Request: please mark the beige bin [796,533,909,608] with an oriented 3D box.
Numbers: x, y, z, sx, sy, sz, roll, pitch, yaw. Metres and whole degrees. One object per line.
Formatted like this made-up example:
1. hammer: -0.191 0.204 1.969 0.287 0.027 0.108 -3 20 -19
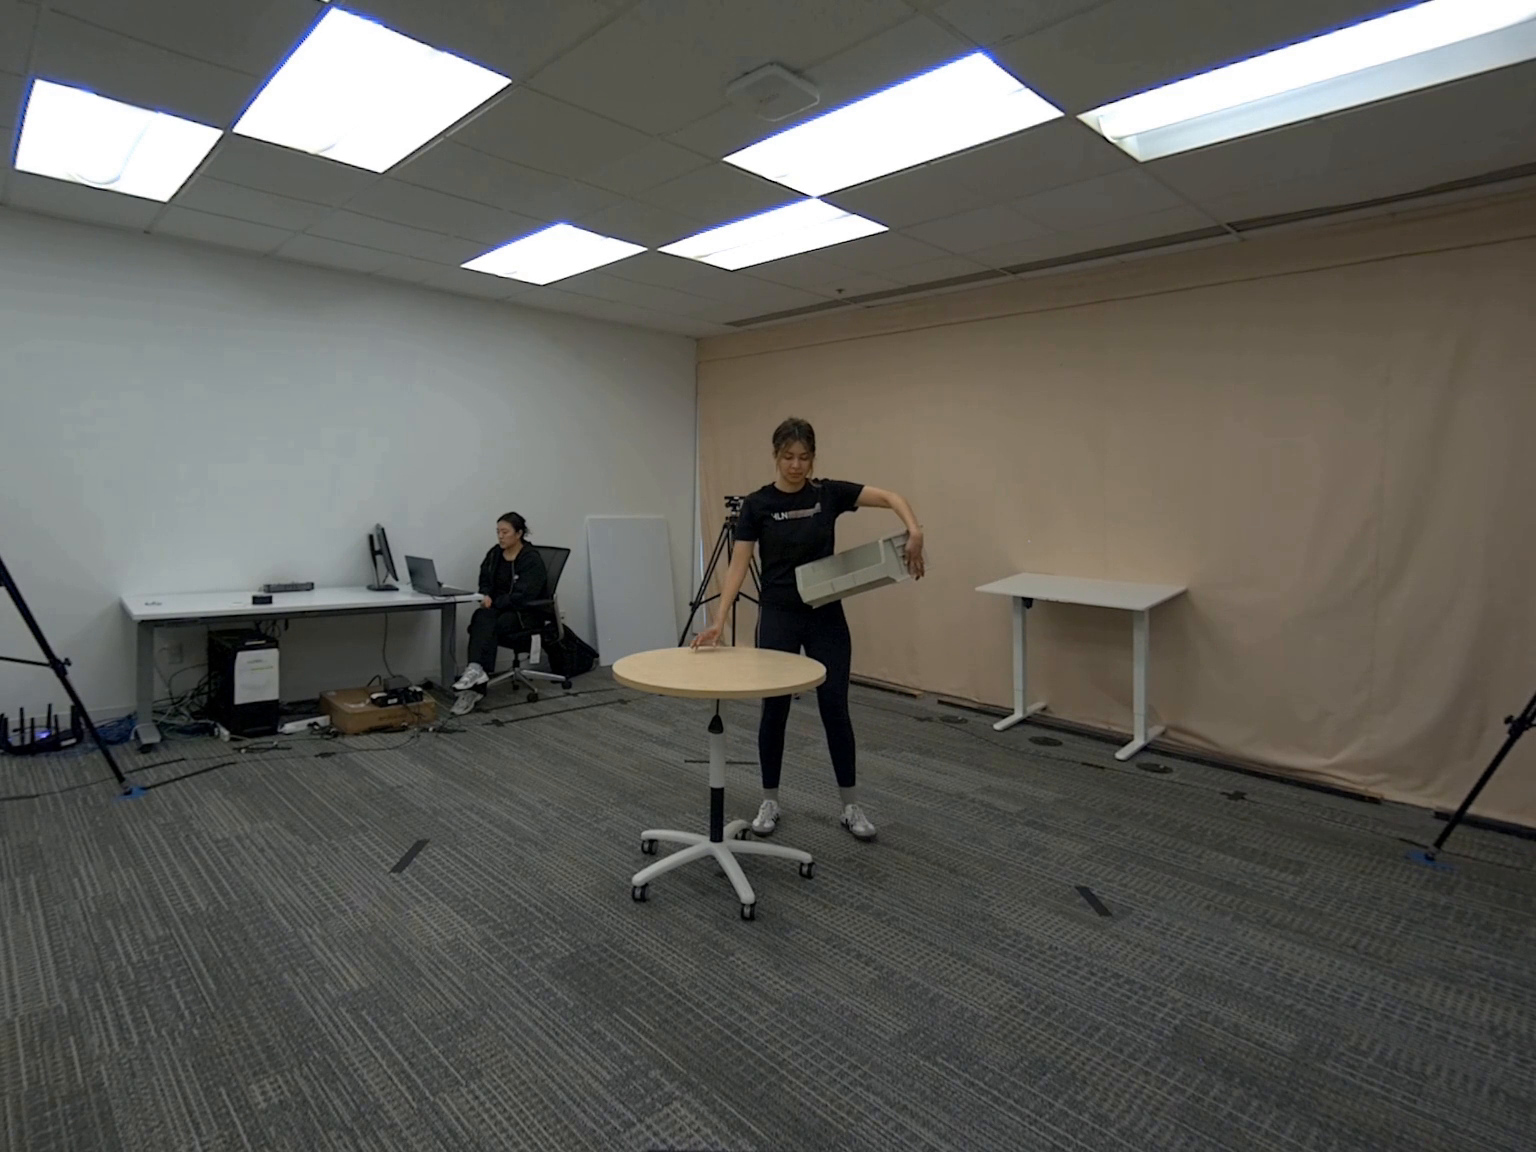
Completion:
1. beige bin: 0.381 -0.030 3.376 0.428 0.189 0.371 -20 -3 39
